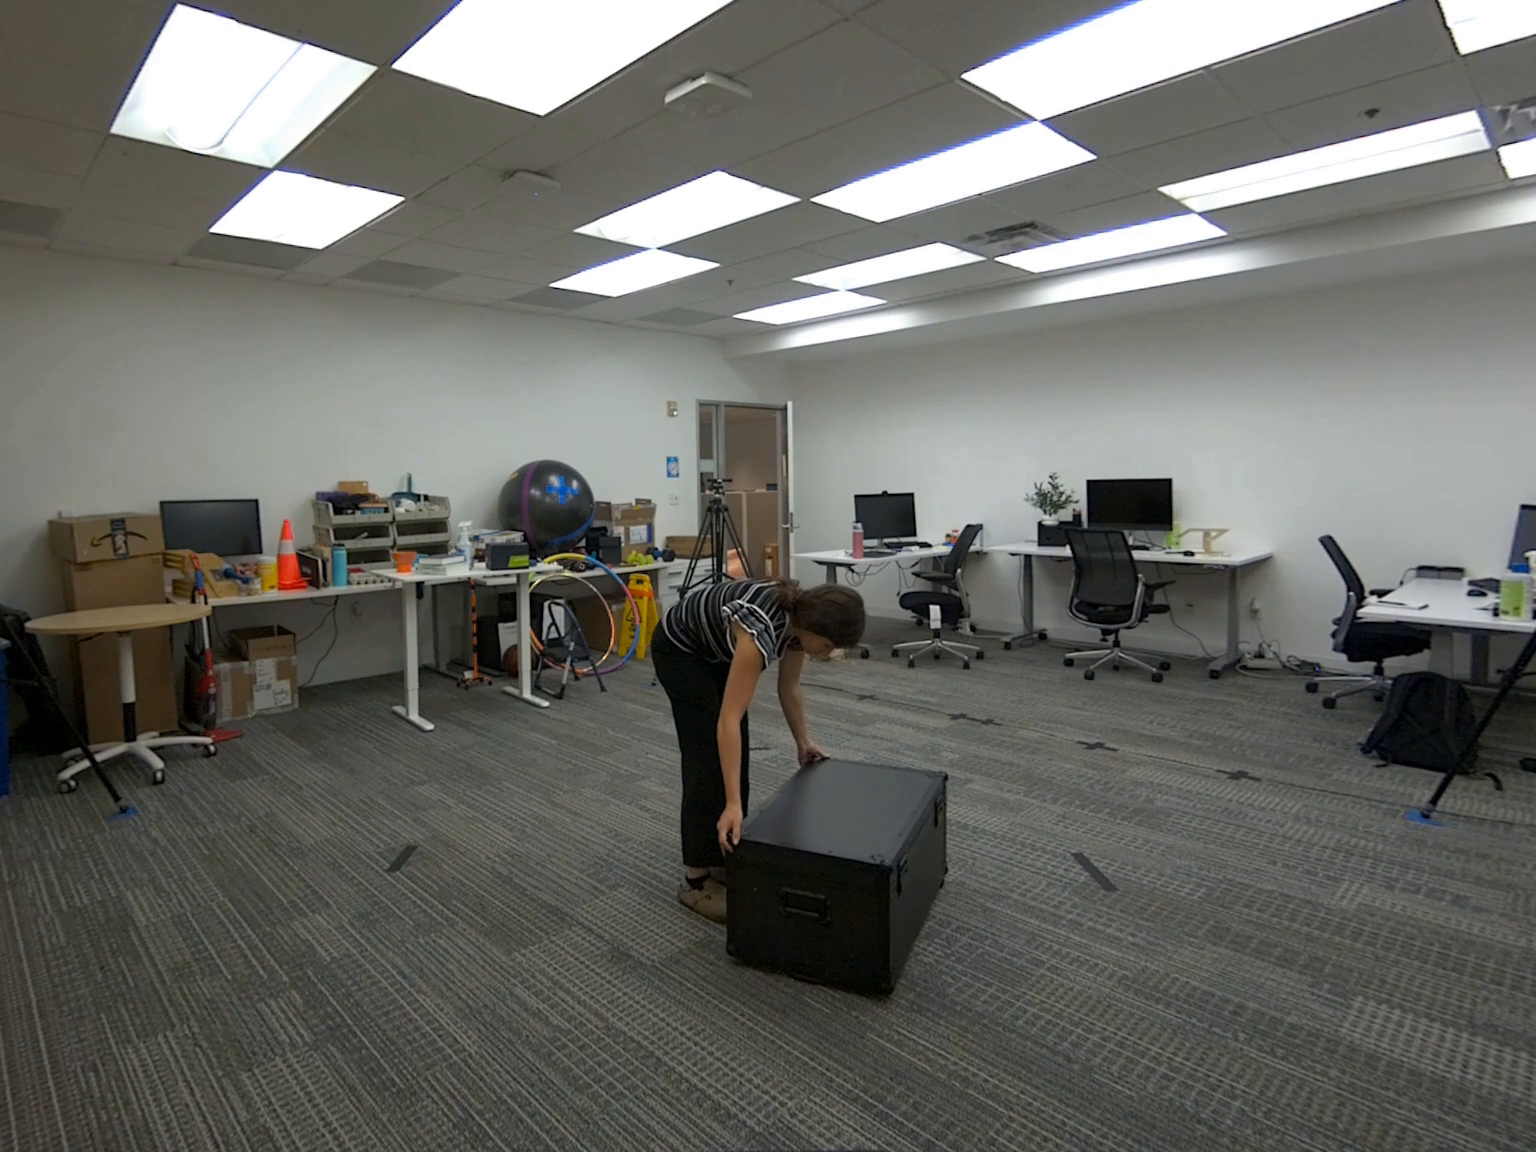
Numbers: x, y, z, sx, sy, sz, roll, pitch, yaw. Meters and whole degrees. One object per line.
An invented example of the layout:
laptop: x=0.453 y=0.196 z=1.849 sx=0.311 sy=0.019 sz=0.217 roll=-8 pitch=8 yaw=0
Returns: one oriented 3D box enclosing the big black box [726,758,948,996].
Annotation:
big black box: x=0.262 y=0.888 z=2.732 sx=0.532 sy=0.394 sz=0.847 roll=0 pitch=7 yaw=23
